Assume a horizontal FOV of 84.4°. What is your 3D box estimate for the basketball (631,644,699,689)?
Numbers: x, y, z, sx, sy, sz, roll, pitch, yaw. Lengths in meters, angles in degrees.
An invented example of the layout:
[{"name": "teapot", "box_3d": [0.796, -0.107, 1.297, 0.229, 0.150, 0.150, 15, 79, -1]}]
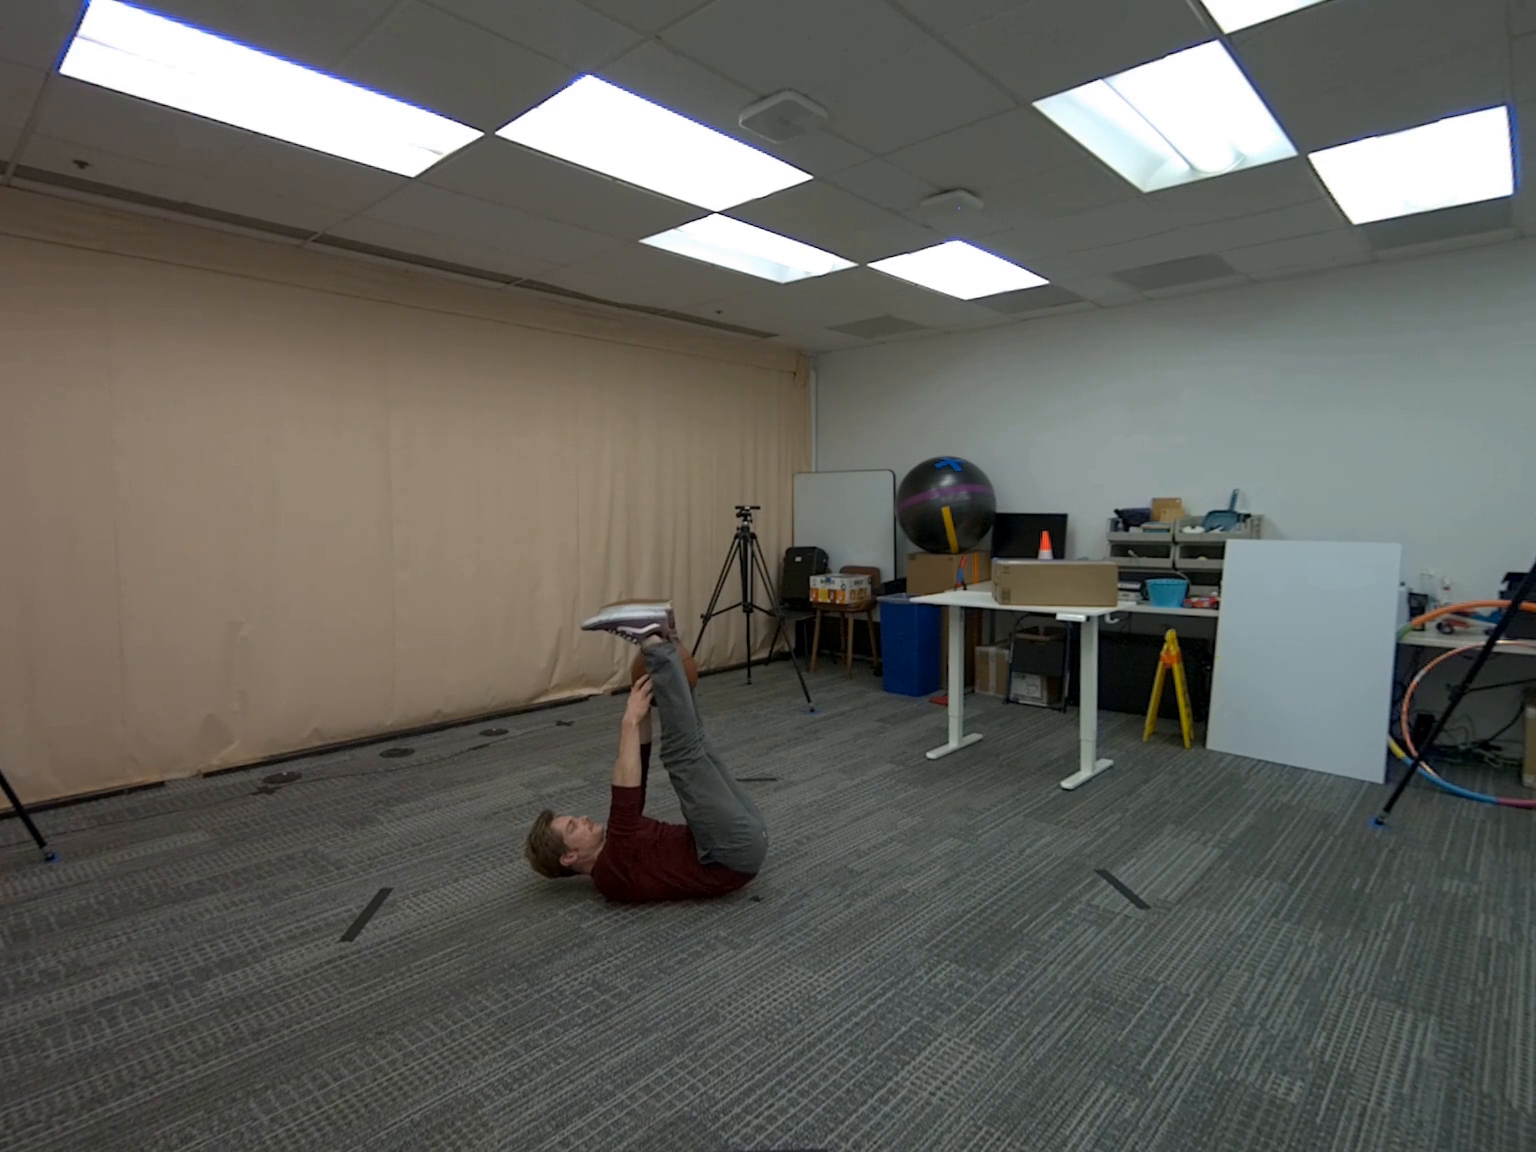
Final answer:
[{"name": "basketball", "box_3d": [-0.376, 0.349, 3.026, 0.236, 0.235, 0.237, 0, 4, -2]}]
